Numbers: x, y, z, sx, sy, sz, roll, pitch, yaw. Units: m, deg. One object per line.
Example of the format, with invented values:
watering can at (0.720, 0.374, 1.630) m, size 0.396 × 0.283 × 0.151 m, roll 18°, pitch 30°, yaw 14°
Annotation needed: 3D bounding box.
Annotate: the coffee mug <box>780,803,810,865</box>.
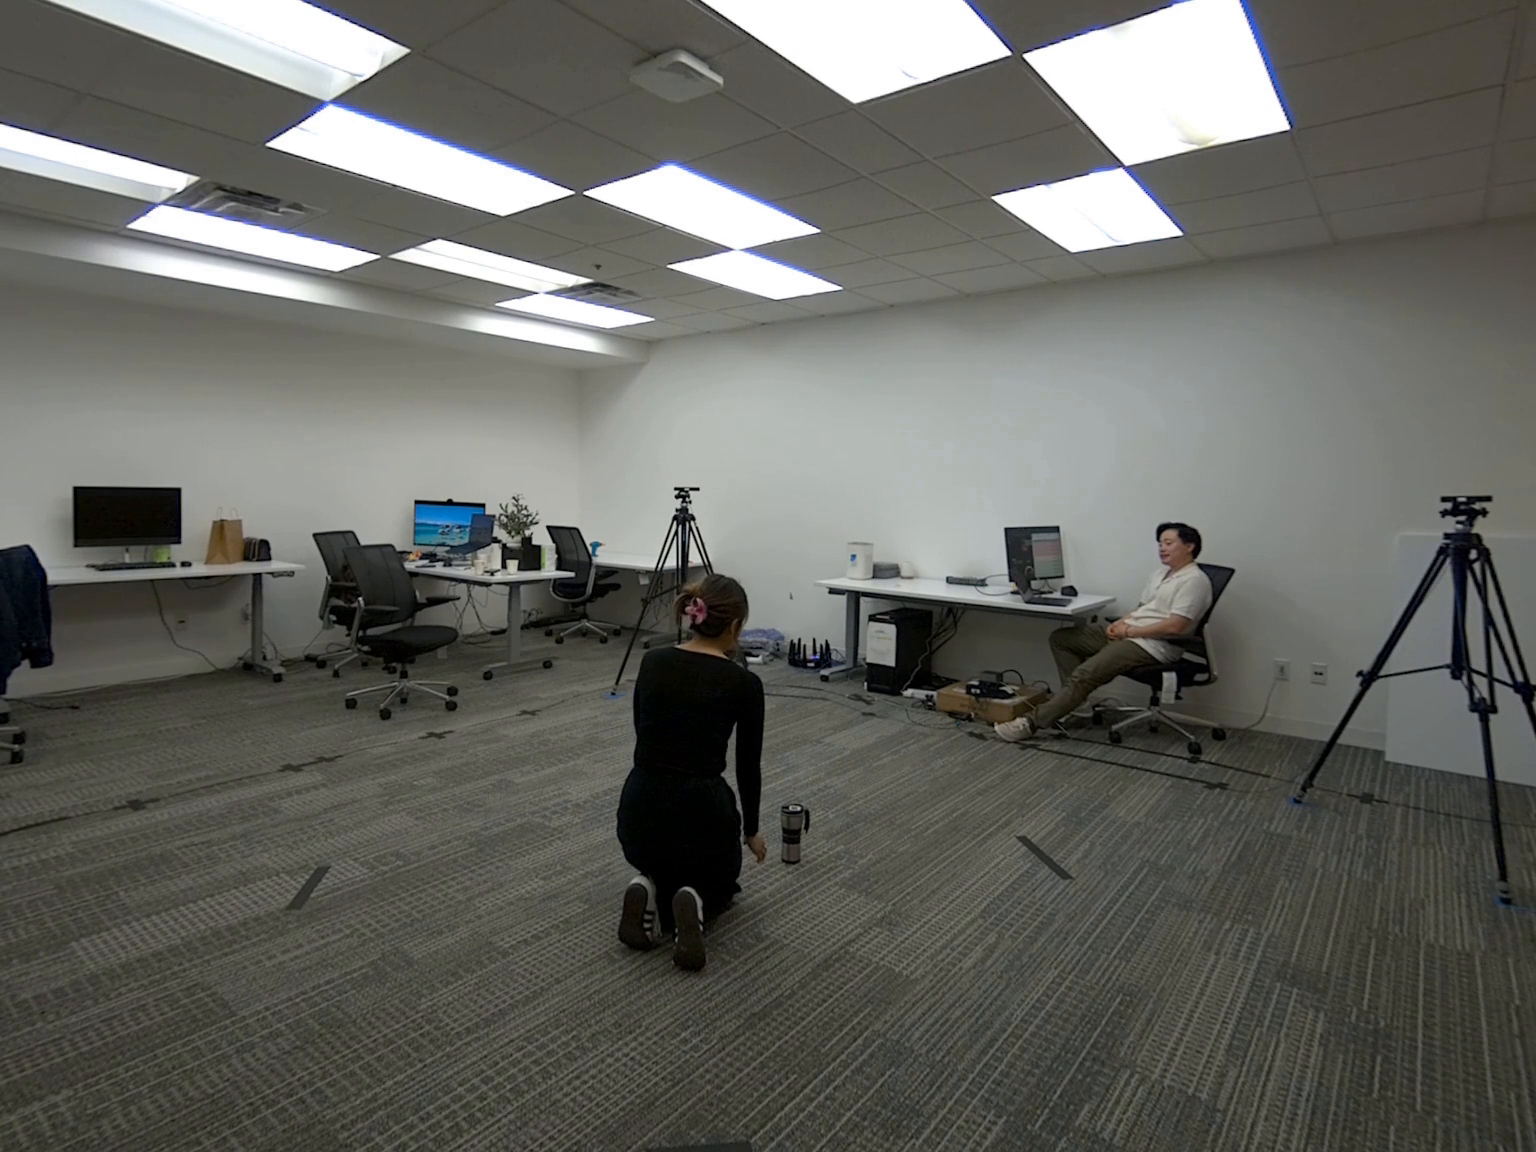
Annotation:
coffee mug at (0.106, 0.965, 3.190) m, size 0.121 × 0.202 × 0.089 m, roll -2°, pitch 2°, yaw -11°
